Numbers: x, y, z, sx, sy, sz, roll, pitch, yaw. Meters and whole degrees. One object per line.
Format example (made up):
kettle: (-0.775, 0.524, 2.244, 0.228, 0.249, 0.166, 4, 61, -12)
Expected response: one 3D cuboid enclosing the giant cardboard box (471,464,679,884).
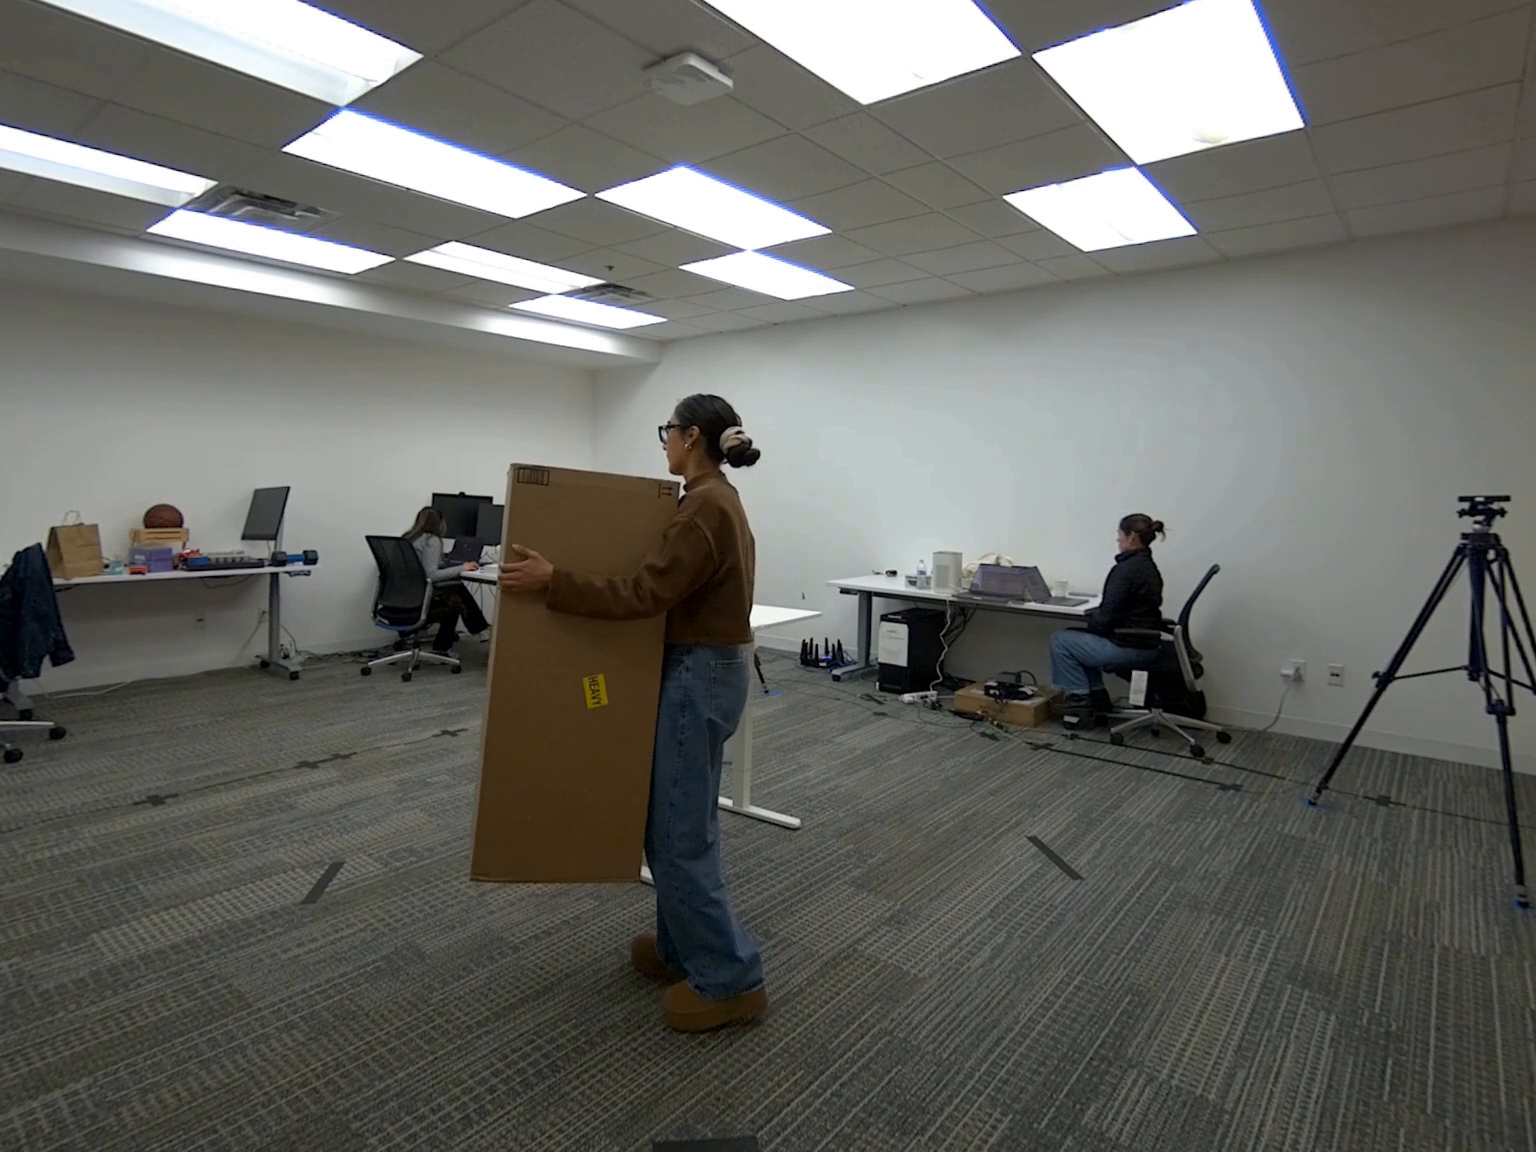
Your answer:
giant cardboard box: (-0.568, 0.232, 2.378, 0.418, 1.026, 0.588, 6, 0, -17)
